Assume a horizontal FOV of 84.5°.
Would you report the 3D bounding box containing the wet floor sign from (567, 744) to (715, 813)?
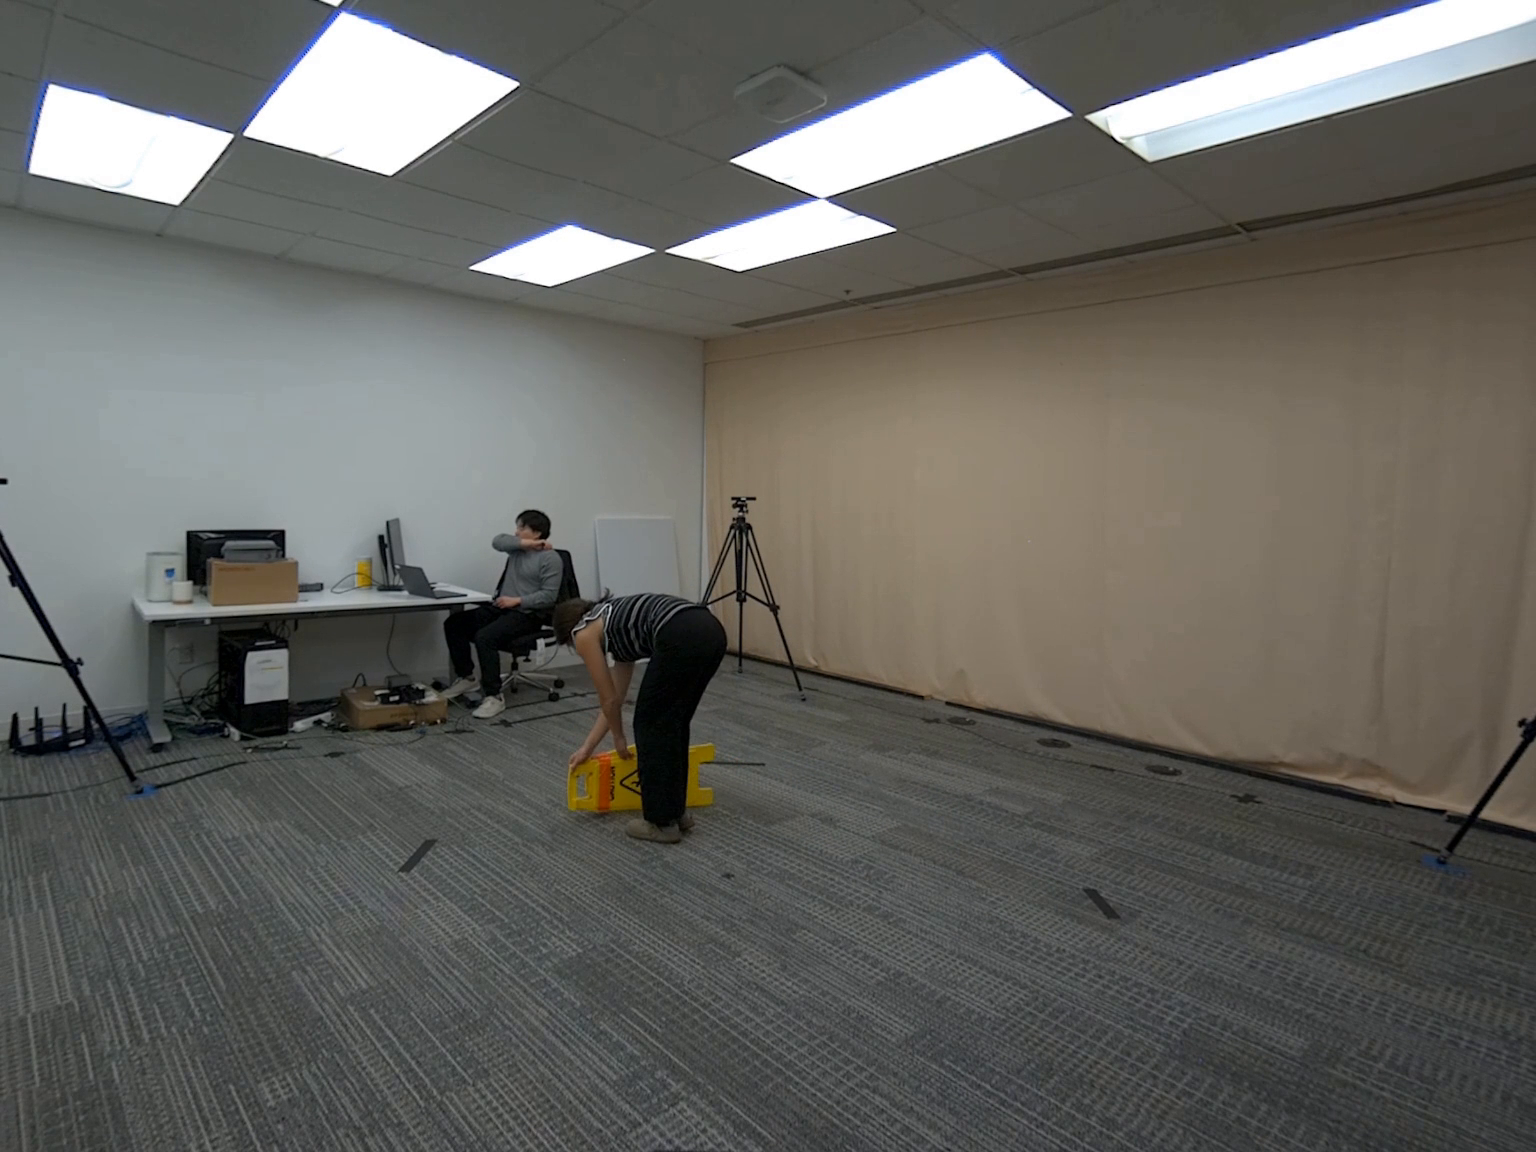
[{"bbox_3d":[-0.591,0.897,3.763,0.632,0.282,0.296,-1,4,-33],"label":"wet floor sign"}]
